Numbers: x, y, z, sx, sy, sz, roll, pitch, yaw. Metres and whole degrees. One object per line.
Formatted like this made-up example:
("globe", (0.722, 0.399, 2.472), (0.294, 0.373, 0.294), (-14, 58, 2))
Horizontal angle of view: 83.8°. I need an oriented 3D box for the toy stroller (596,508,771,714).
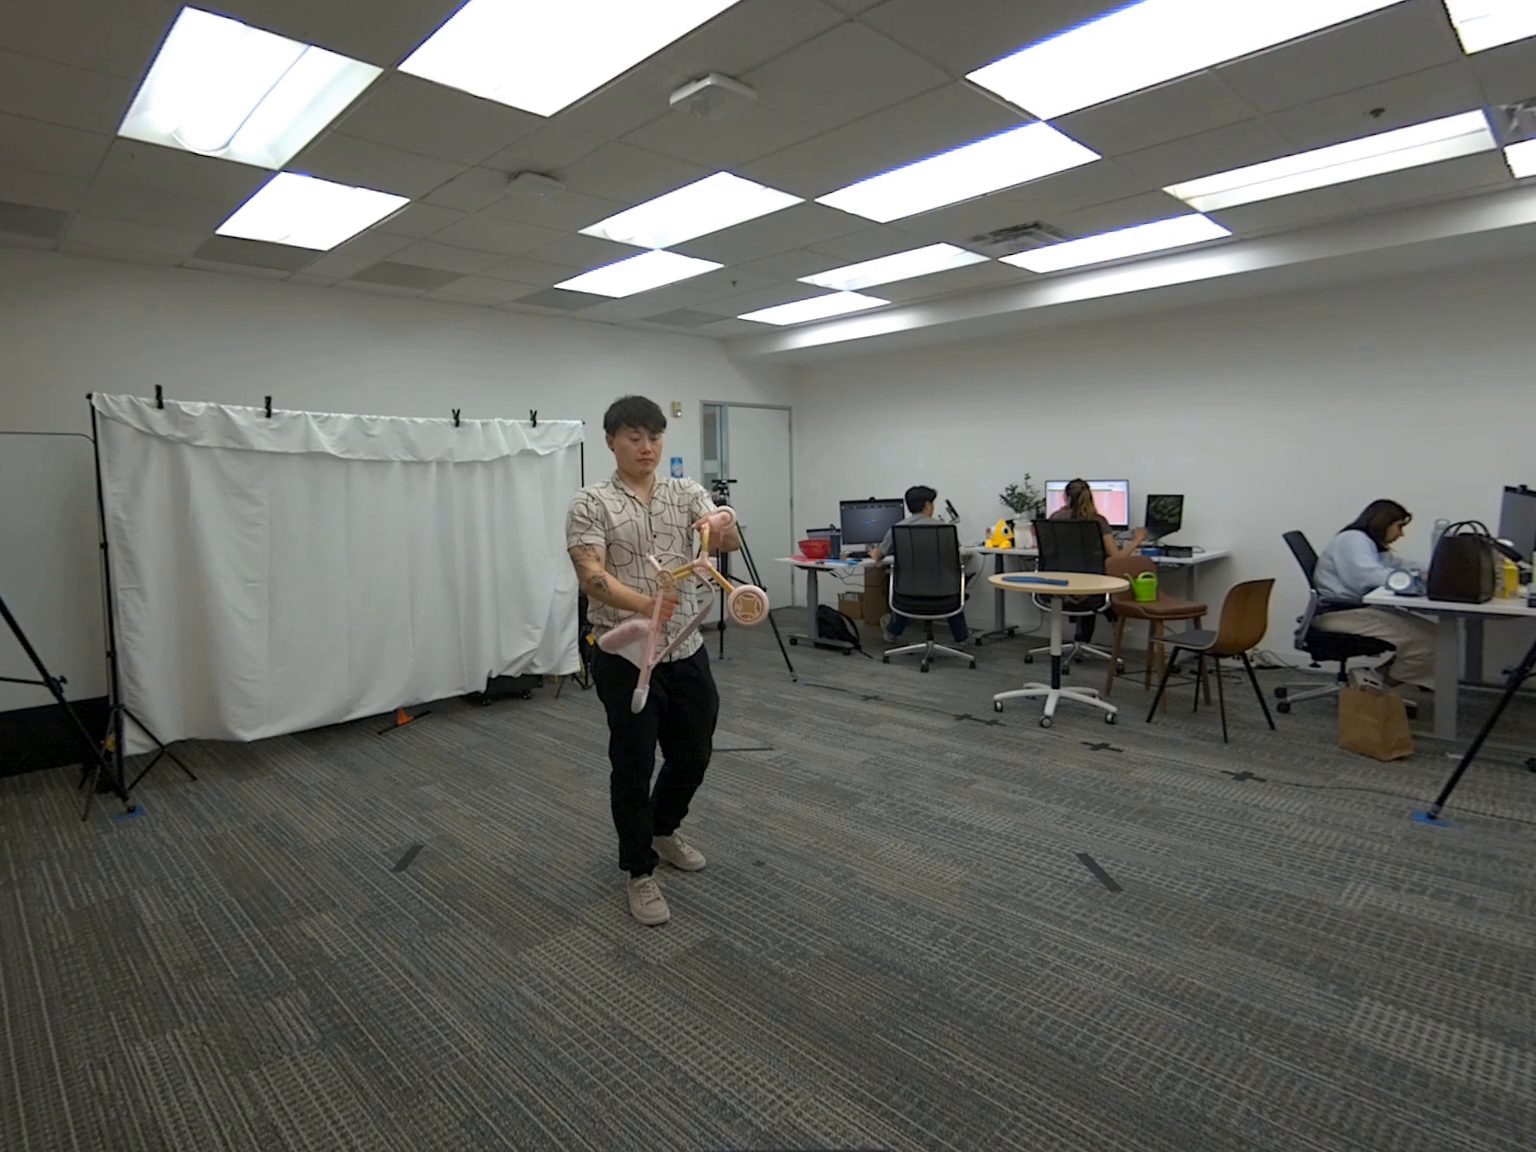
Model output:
("toy stroller", (-0.232, 0.080, 2.343), (0.534, 0.341, 0.282), (-36, 2, -3))
